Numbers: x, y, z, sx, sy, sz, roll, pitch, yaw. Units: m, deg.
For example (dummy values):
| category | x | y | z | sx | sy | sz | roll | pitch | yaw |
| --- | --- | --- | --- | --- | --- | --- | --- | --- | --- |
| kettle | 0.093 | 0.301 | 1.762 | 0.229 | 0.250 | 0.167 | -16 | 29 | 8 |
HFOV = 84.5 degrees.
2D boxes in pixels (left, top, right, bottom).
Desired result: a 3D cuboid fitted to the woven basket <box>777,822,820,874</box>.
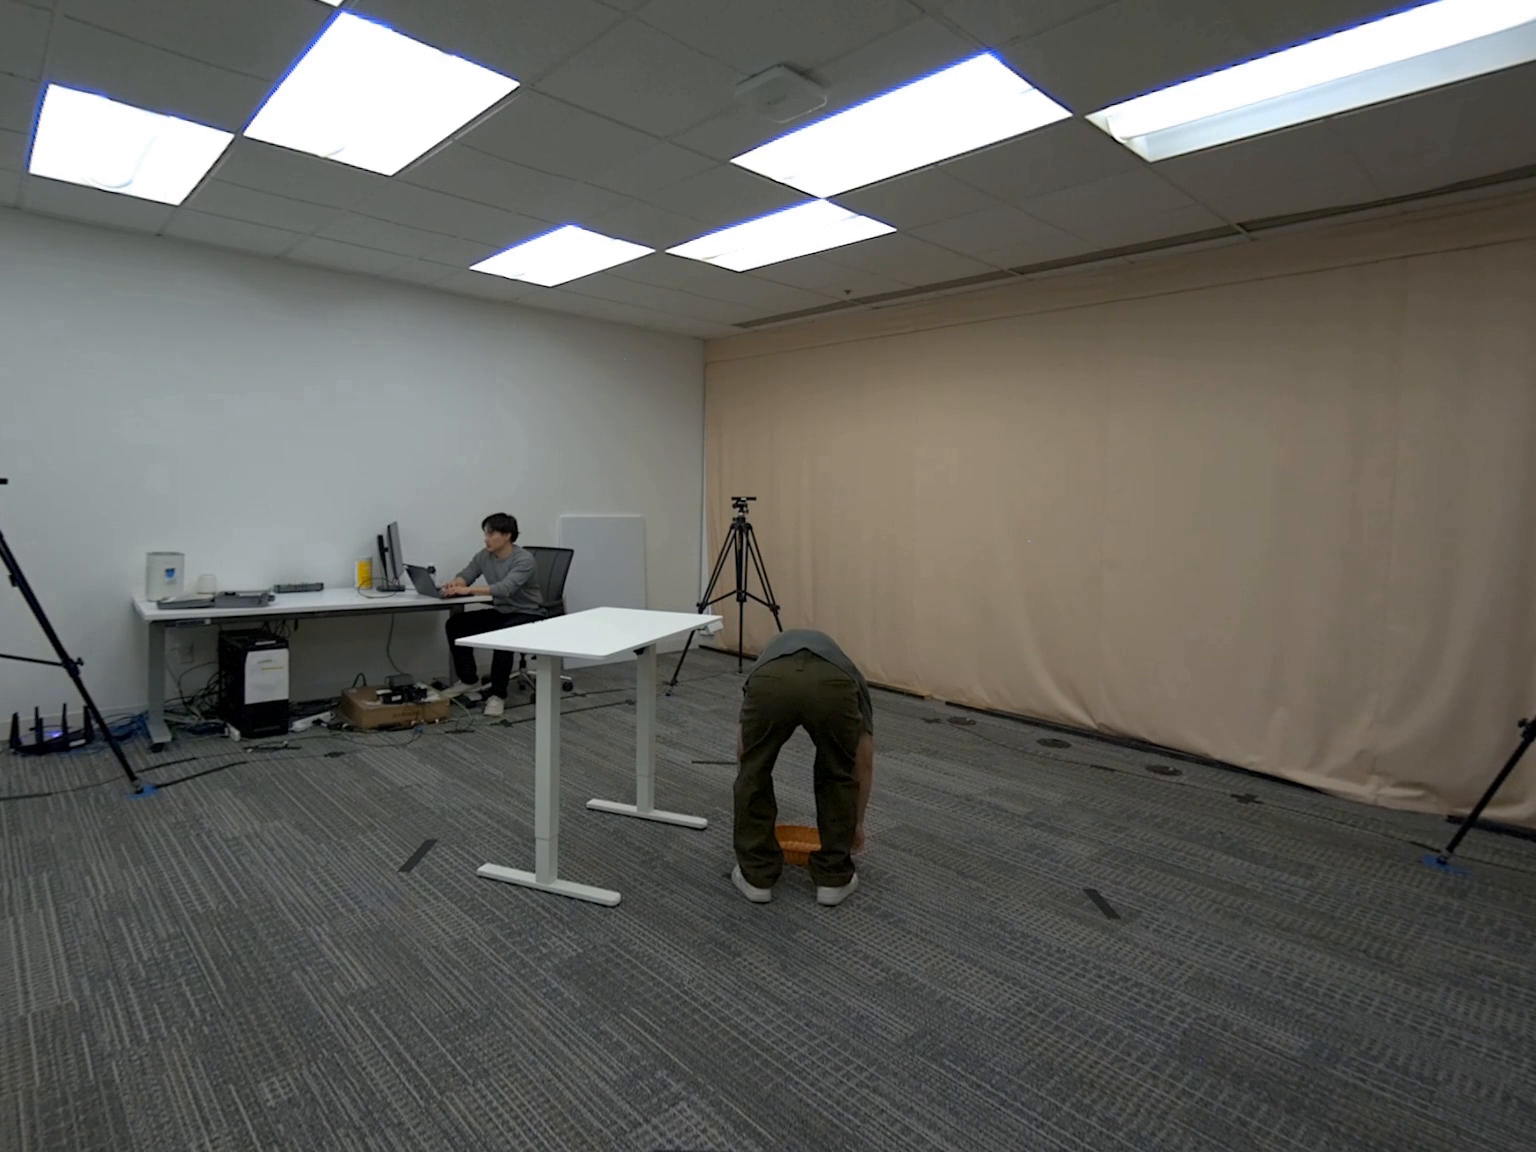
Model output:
| category | x | y | z | sx | sy | sz | roll | pitch | yaw |
| --- | --- | --- | --- | --- | --- | --- | --- | --- | --- |
| woven basket | 0.133 | 1.060 | 3.300 | 0.356 | 0.073 | 0.249 | 3 | 5 | 20 |
